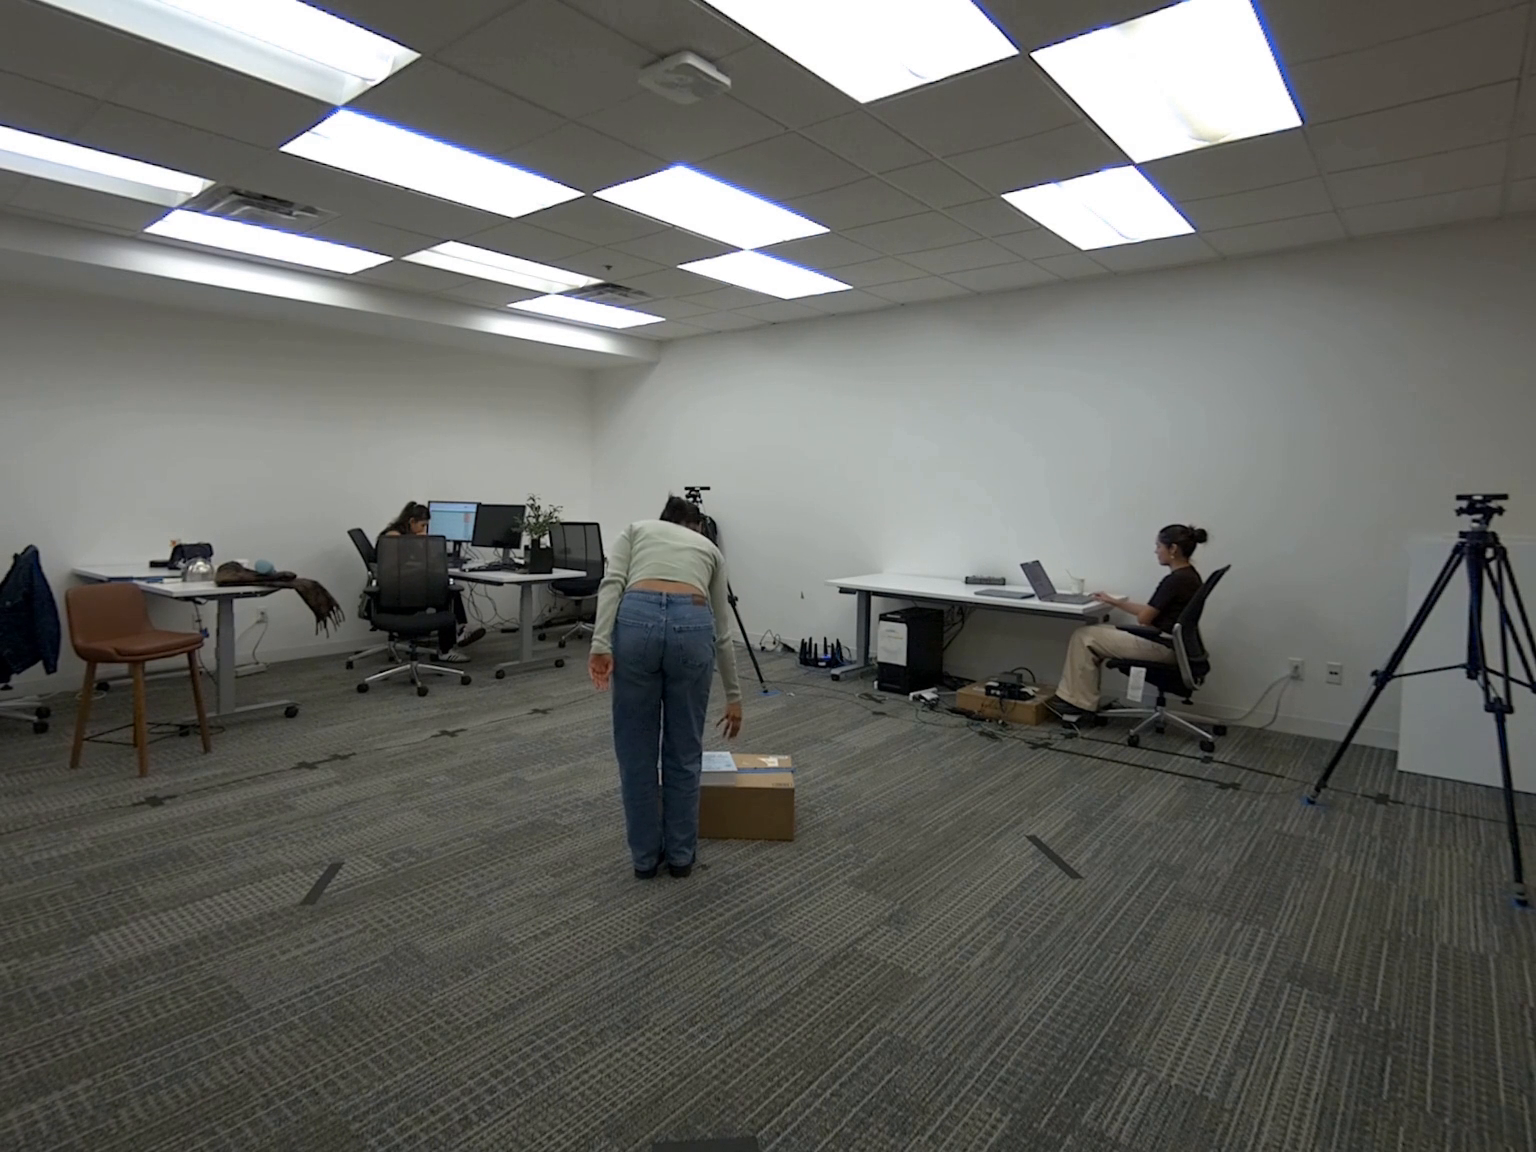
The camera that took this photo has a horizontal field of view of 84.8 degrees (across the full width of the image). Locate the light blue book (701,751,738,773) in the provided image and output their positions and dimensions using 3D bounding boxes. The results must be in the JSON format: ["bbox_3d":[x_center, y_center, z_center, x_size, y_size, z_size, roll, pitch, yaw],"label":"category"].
[{"bbox_3d":[-0.244,0.784,3.500,0.190,0.059,0.264,1,5,-8],"label":"light blue book"}]
